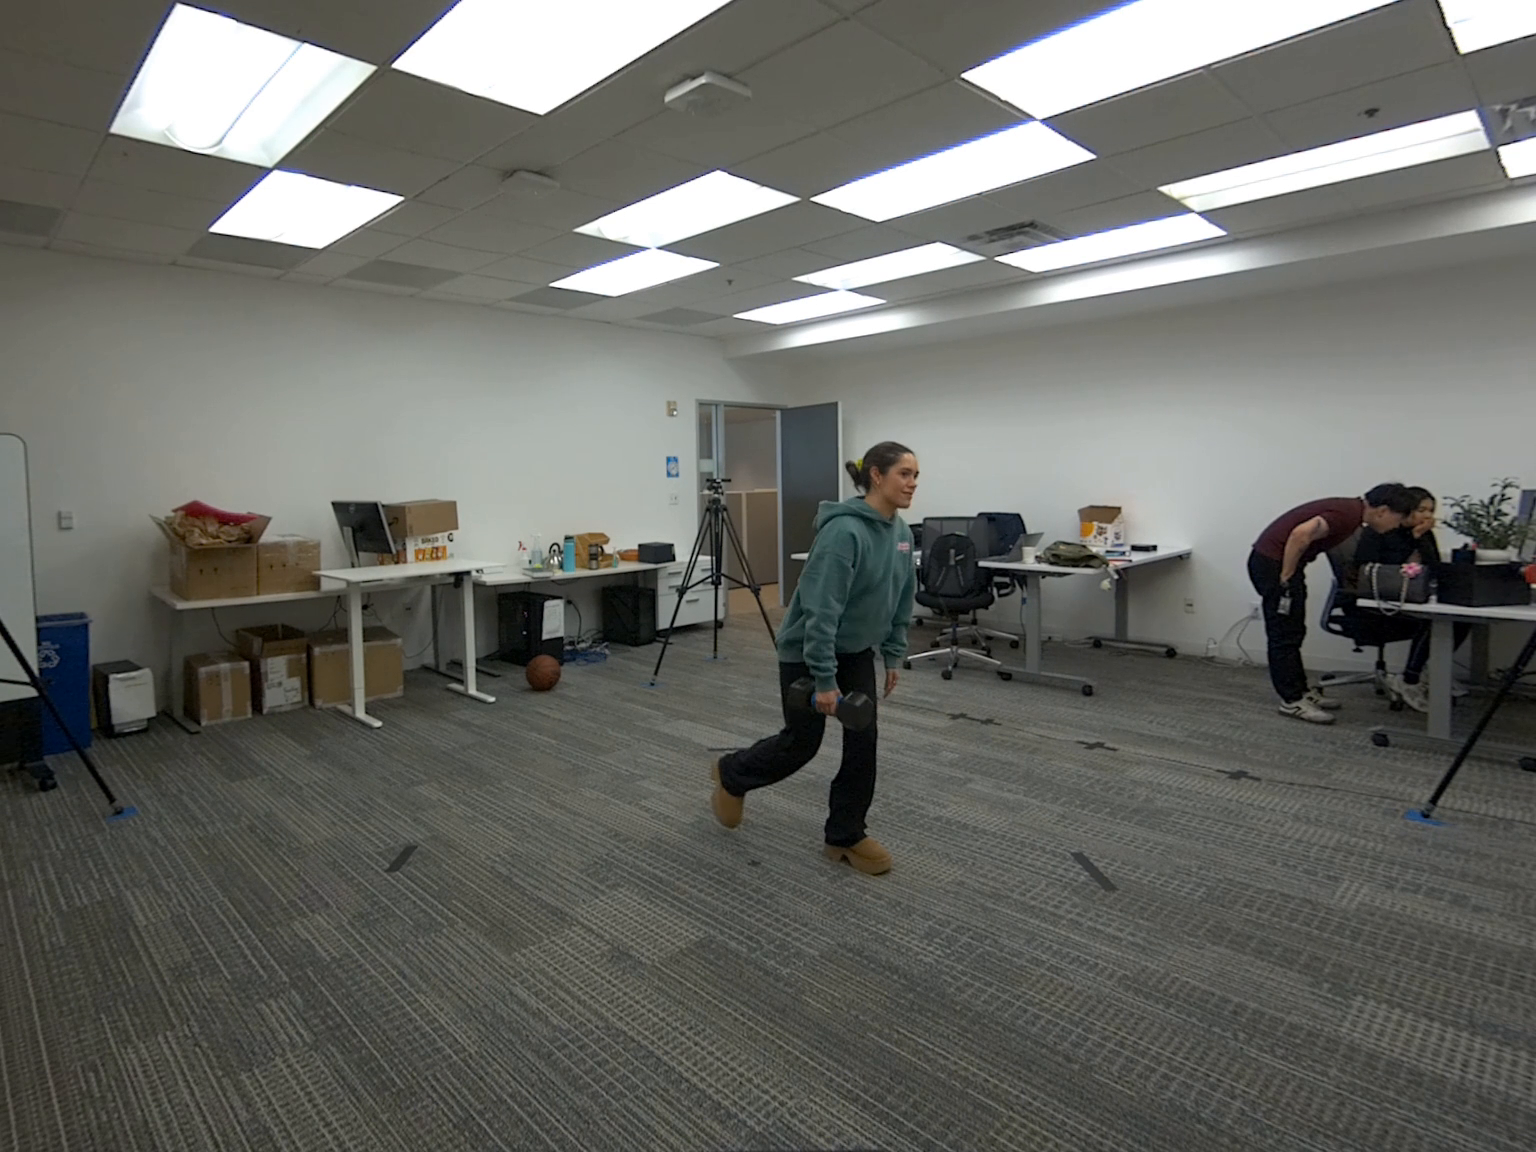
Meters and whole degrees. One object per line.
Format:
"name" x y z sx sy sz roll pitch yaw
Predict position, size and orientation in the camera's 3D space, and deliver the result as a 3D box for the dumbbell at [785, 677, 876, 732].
"dumbbell" 0.205 0.442 2.884 0.303 0.109 0.118 9 -28 44
